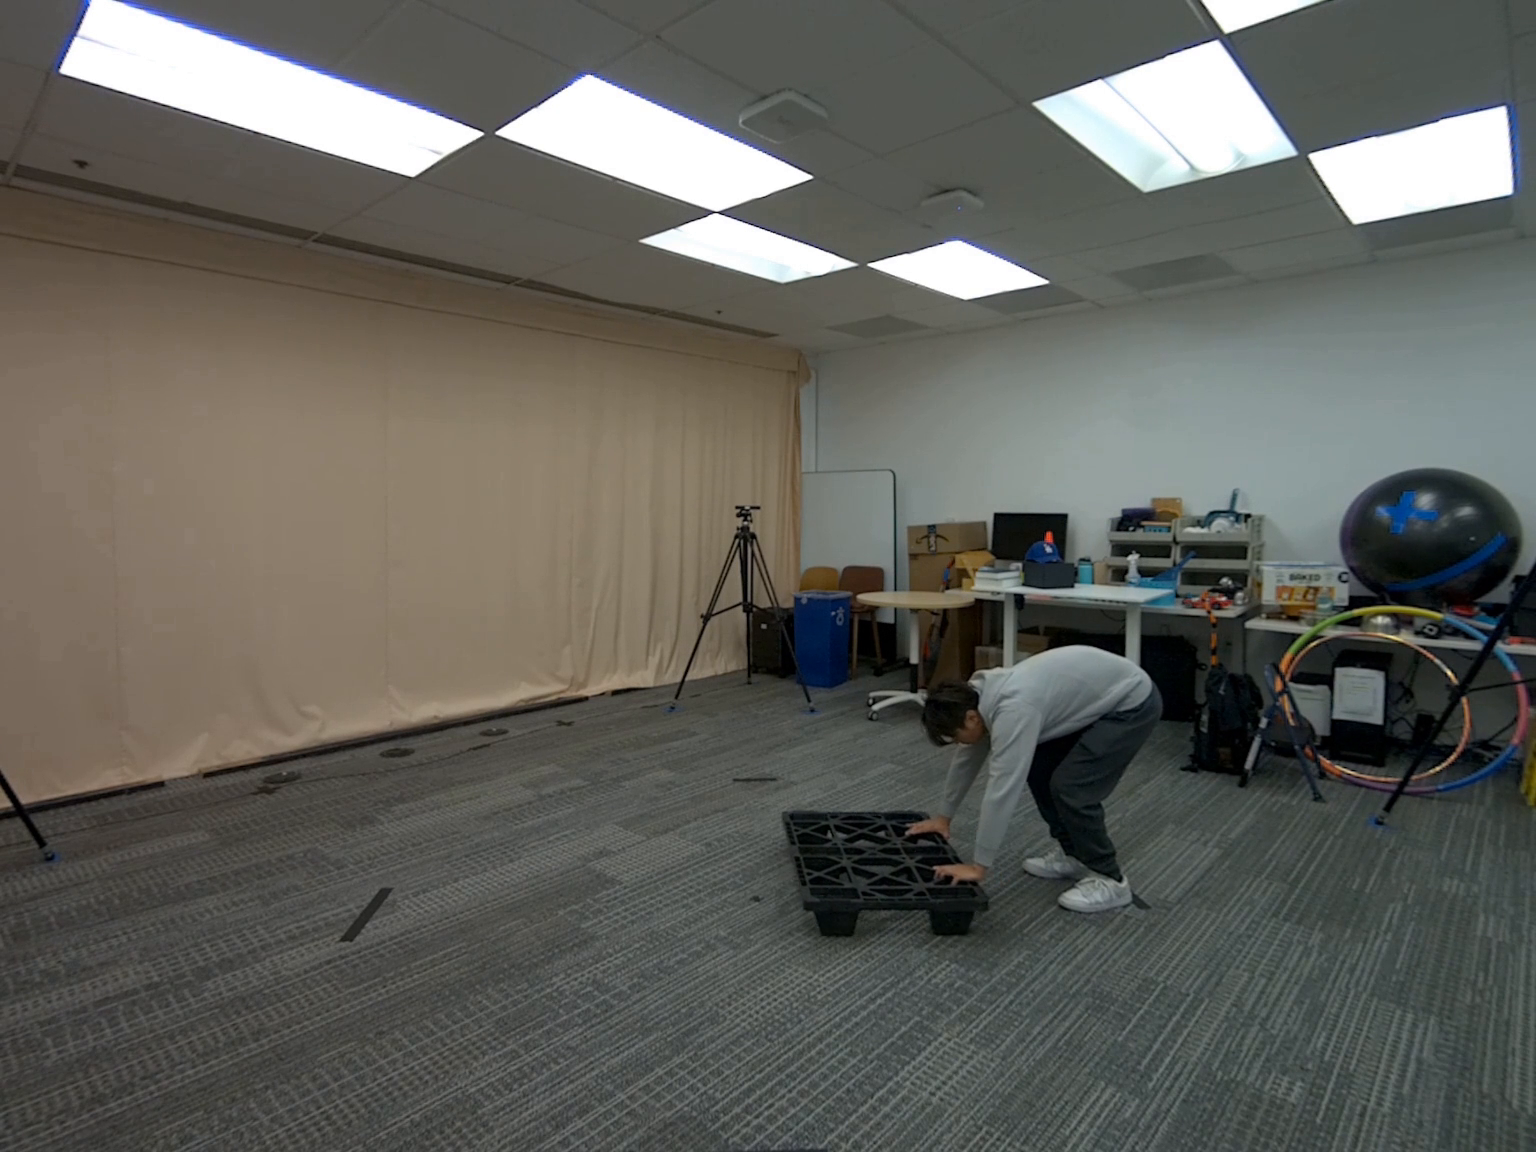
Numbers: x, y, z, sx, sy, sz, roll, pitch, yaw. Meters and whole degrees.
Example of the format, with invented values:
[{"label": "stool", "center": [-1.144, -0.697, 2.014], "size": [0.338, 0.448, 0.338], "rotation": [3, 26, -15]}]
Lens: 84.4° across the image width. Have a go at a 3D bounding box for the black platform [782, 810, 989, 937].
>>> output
[{"label": "black platform", "center": [0.388, 1.066, 3.077], "size": [0.604, 0.143, 0.809], "rotation": [-1, 4, -3]}]
